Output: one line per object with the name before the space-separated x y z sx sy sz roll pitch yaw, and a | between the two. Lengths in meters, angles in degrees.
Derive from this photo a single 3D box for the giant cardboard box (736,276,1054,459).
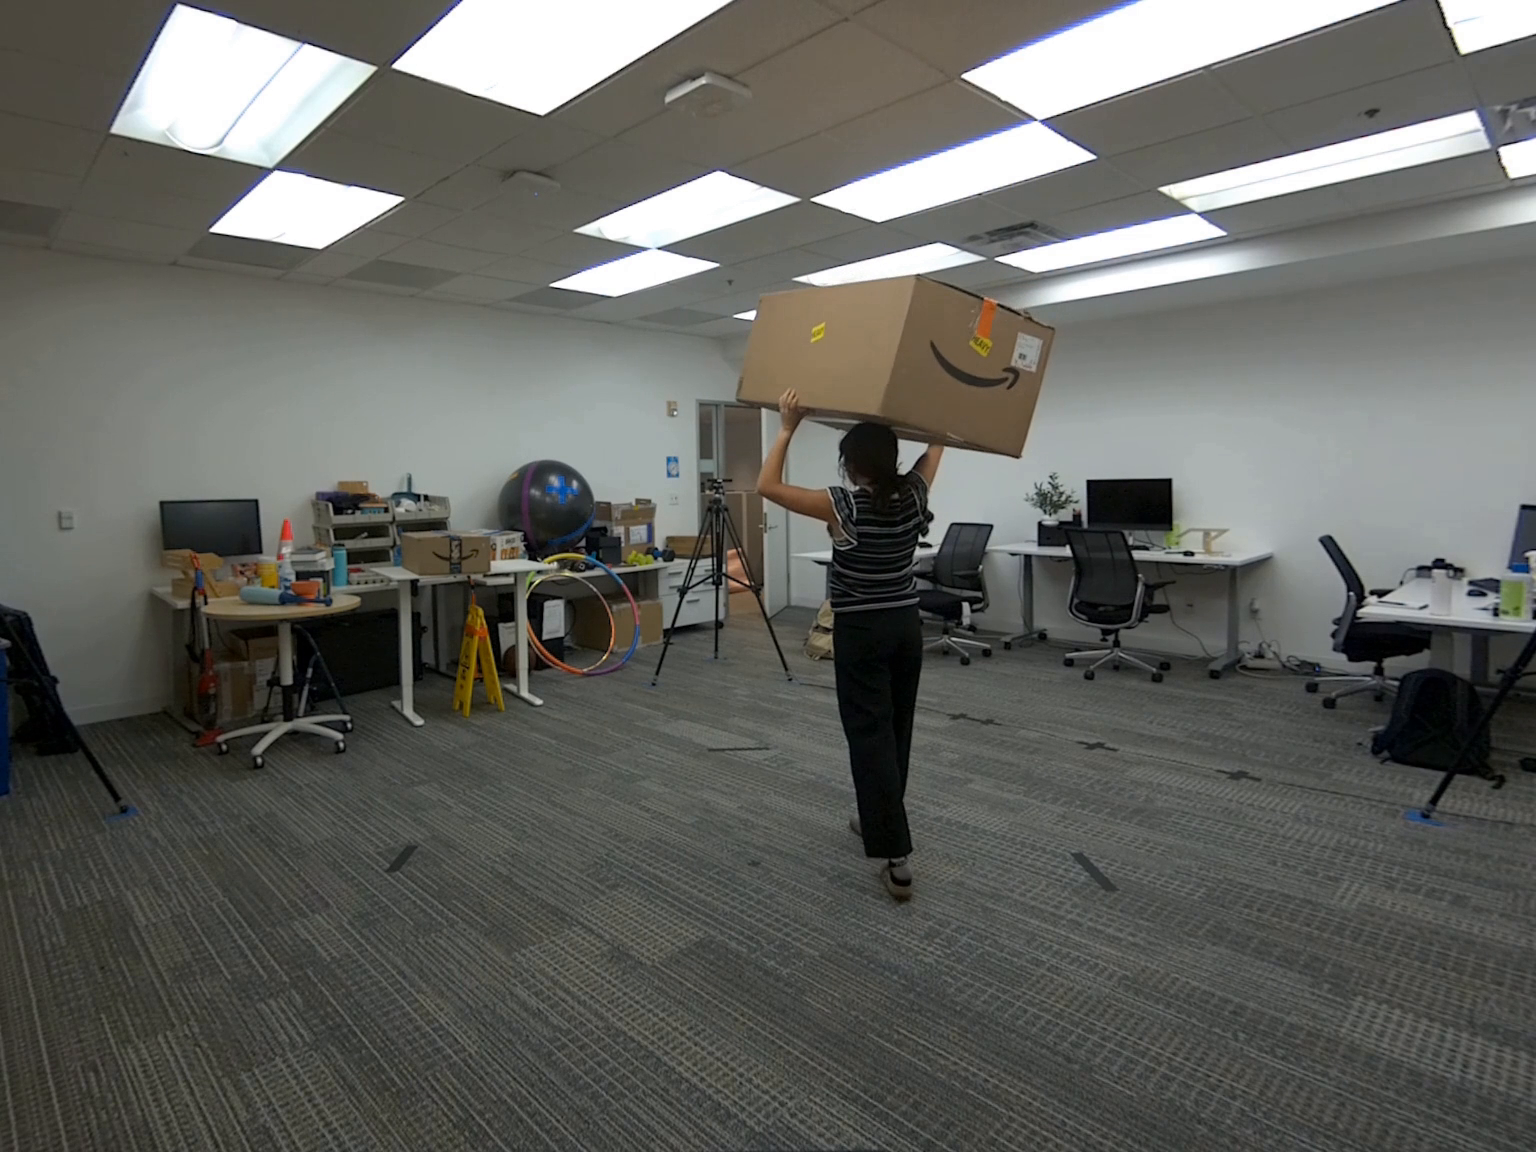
giant cardboard box | 0.386 -0.740 3.052 0.562 0.424 1.058 10 8 -28
